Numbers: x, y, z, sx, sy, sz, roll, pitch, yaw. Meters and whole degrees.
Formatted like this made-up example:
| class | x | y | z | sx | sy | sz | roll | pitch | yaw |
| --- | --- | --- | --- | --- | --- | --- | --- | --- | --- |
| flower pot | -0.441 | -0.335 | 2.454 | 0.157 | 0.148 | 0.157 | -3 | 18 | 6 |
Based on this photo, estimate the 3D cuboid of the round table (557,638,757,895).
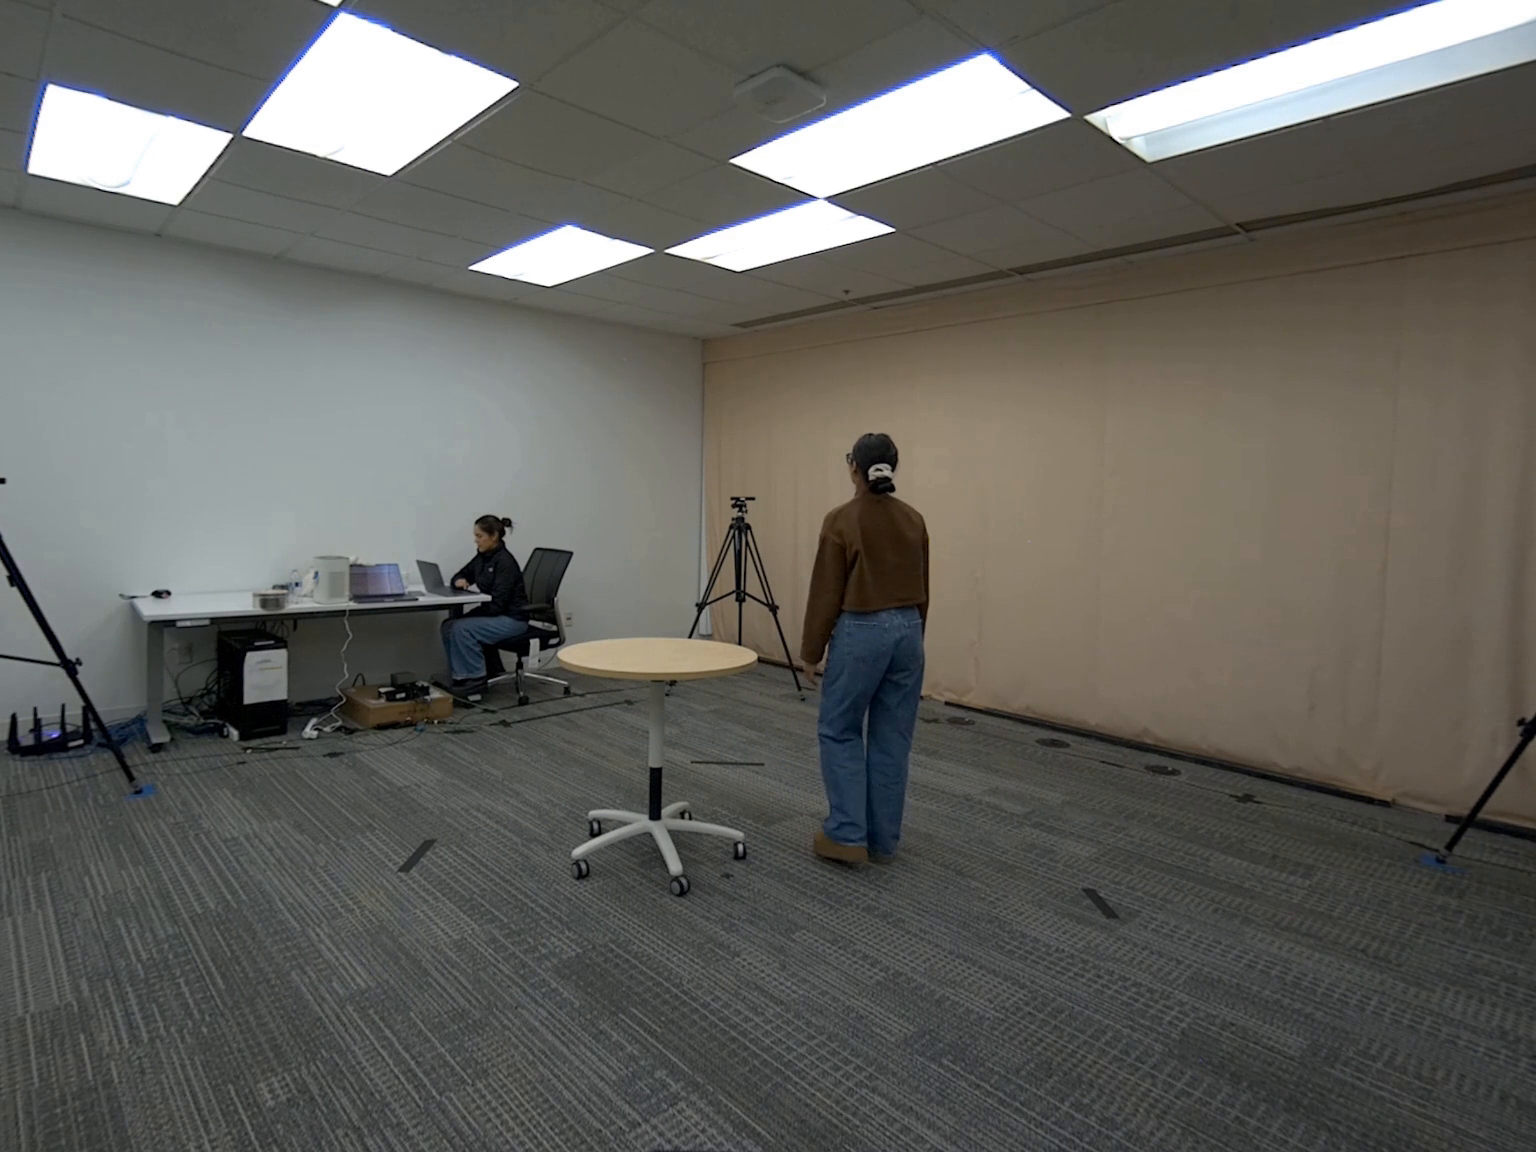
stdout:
| class | x | y | z | sx | sy | sz | roll | pitch | yaw |
| --- | --- | --- | --- | --- | --- | --- | --- | --- | --- |
| round table | -0.439 | 0.697 | 3.259 | 0.763 | 0.792 | 0.766 | 1 | 3 | -1 |
